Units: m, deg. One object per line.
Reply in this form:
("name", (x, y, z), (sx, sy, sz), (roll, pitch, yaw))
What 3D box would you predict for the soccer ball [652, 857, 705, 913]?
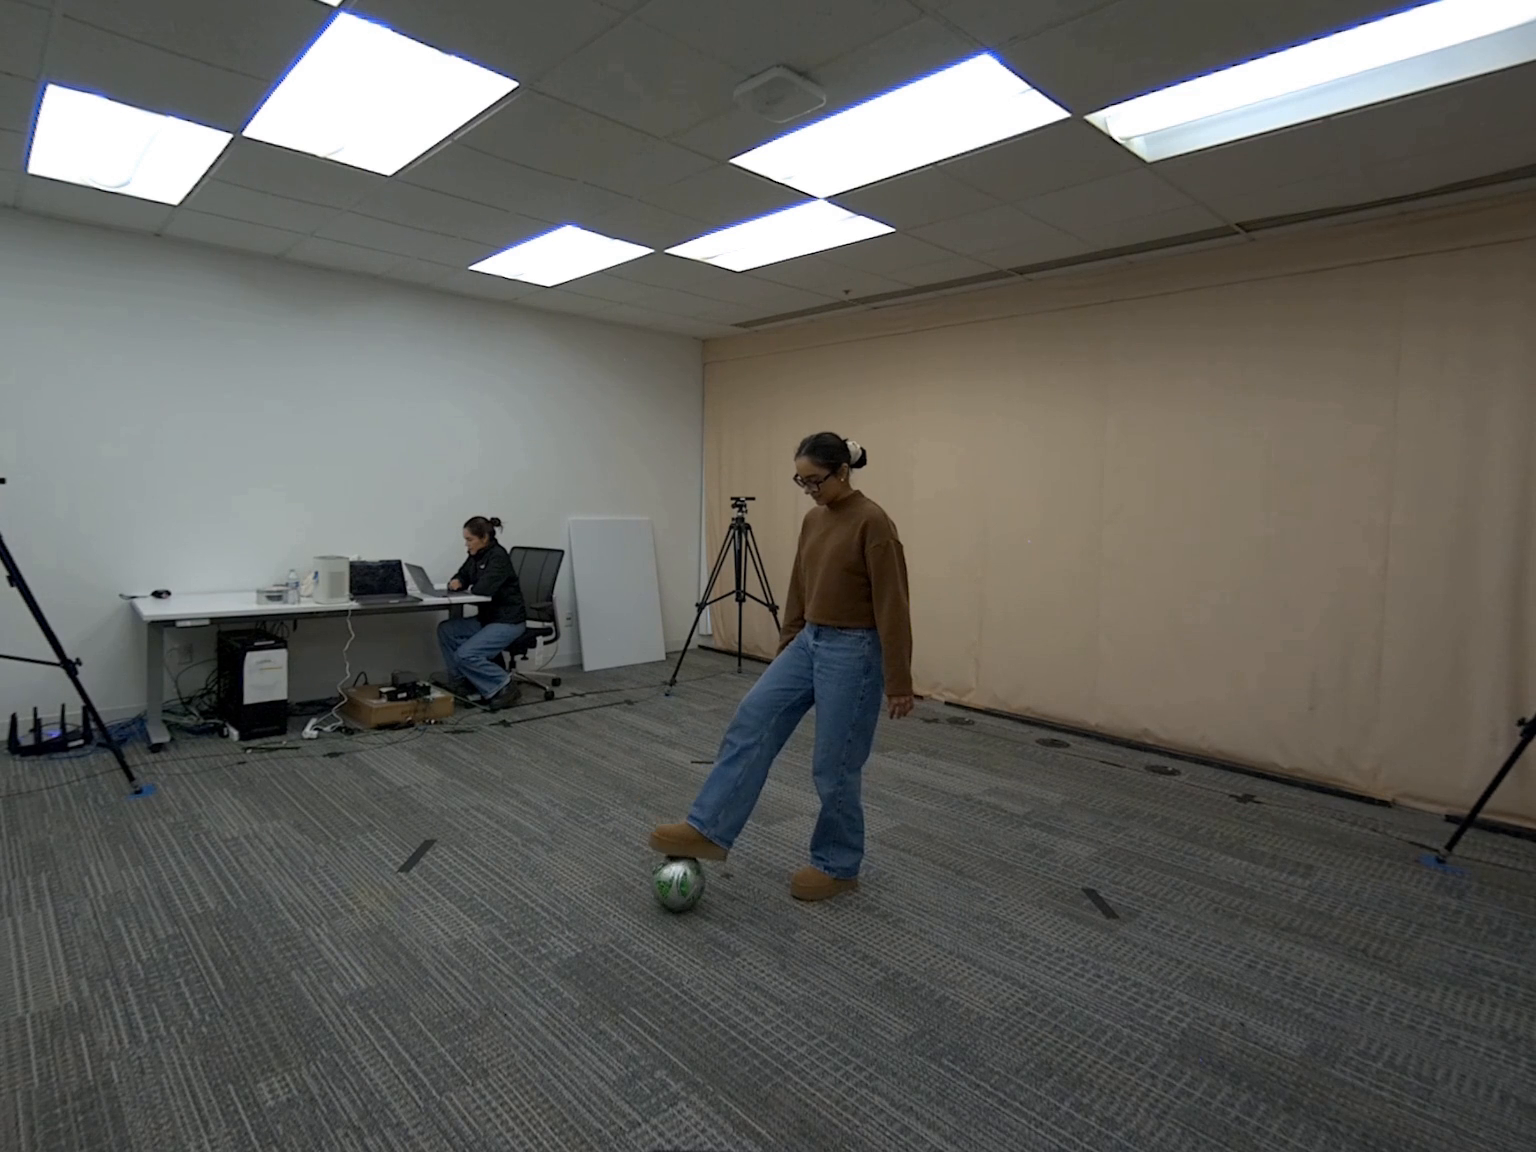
("soccer ball", (-0.301, 1.032, 2.839), (0.187, 0.187, 0.188), (1, 4, -1))
